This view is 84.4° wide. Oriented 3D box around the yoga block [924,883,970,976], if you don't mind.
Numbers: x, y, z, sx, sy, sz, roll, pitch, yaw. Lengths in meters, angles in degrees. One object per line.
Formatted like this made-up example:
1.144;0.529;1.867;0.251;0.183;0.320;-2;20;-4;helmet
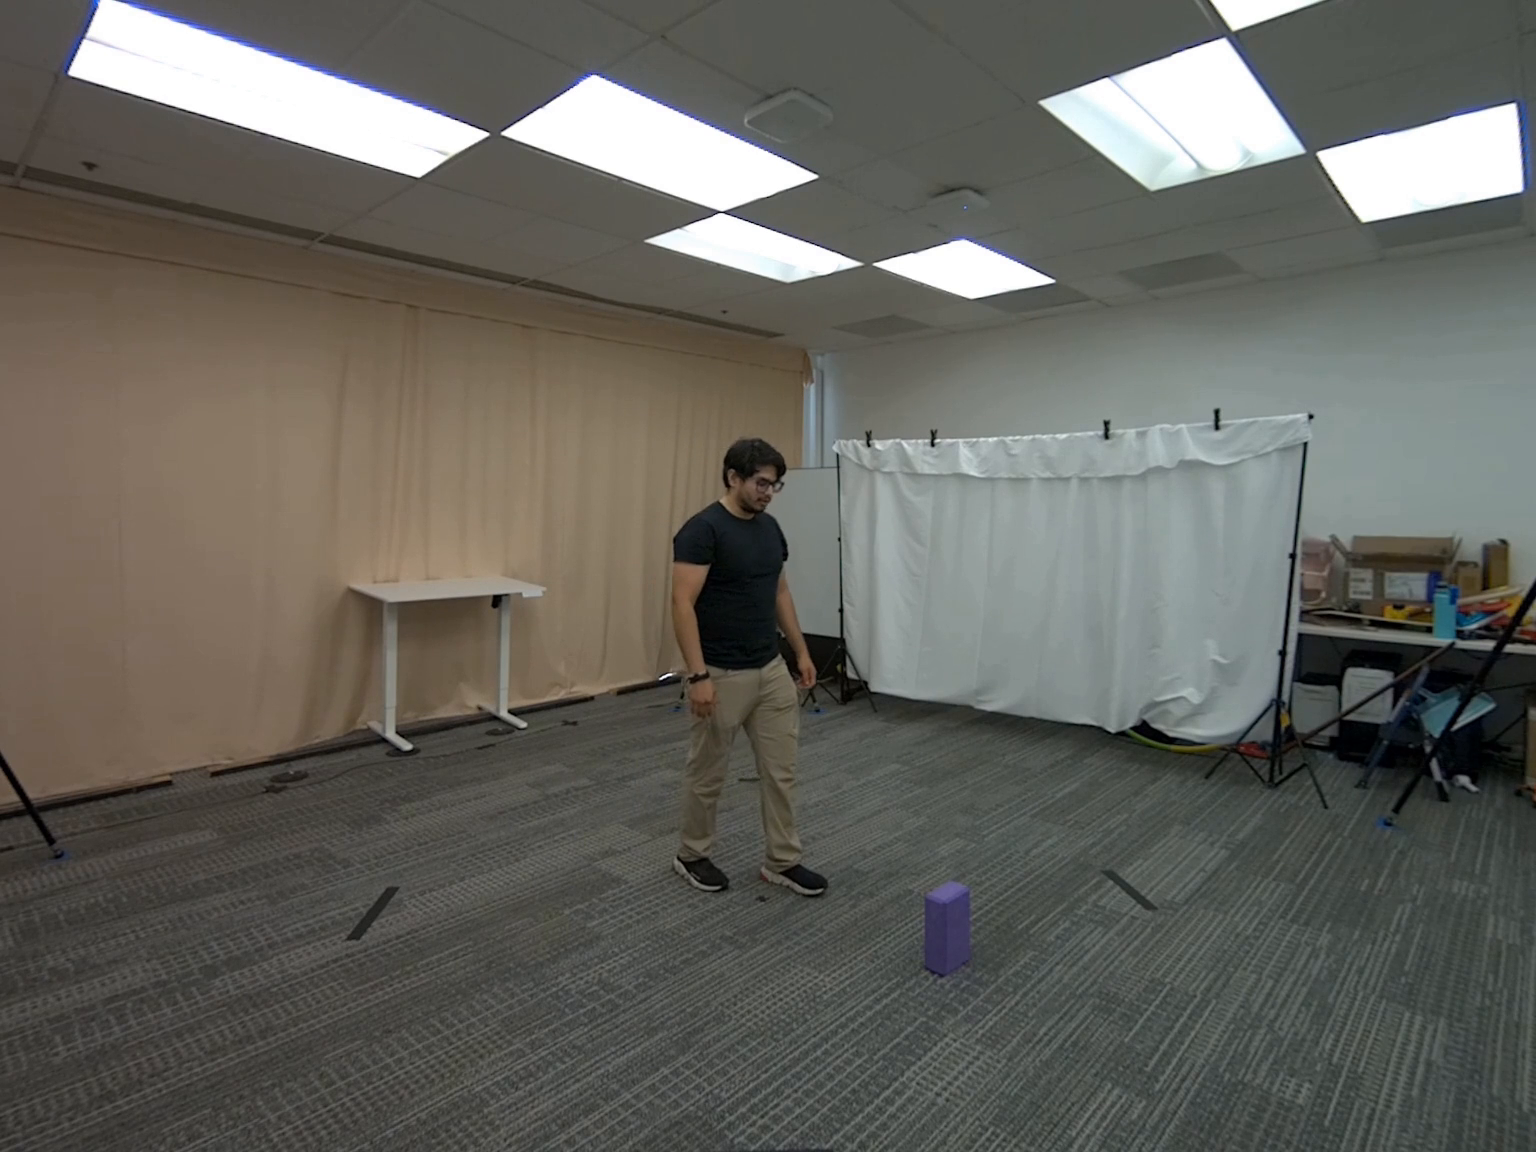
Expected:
0.550;1.064;2.543;0.079;0.229;0.144;3;4;44;yoga block
